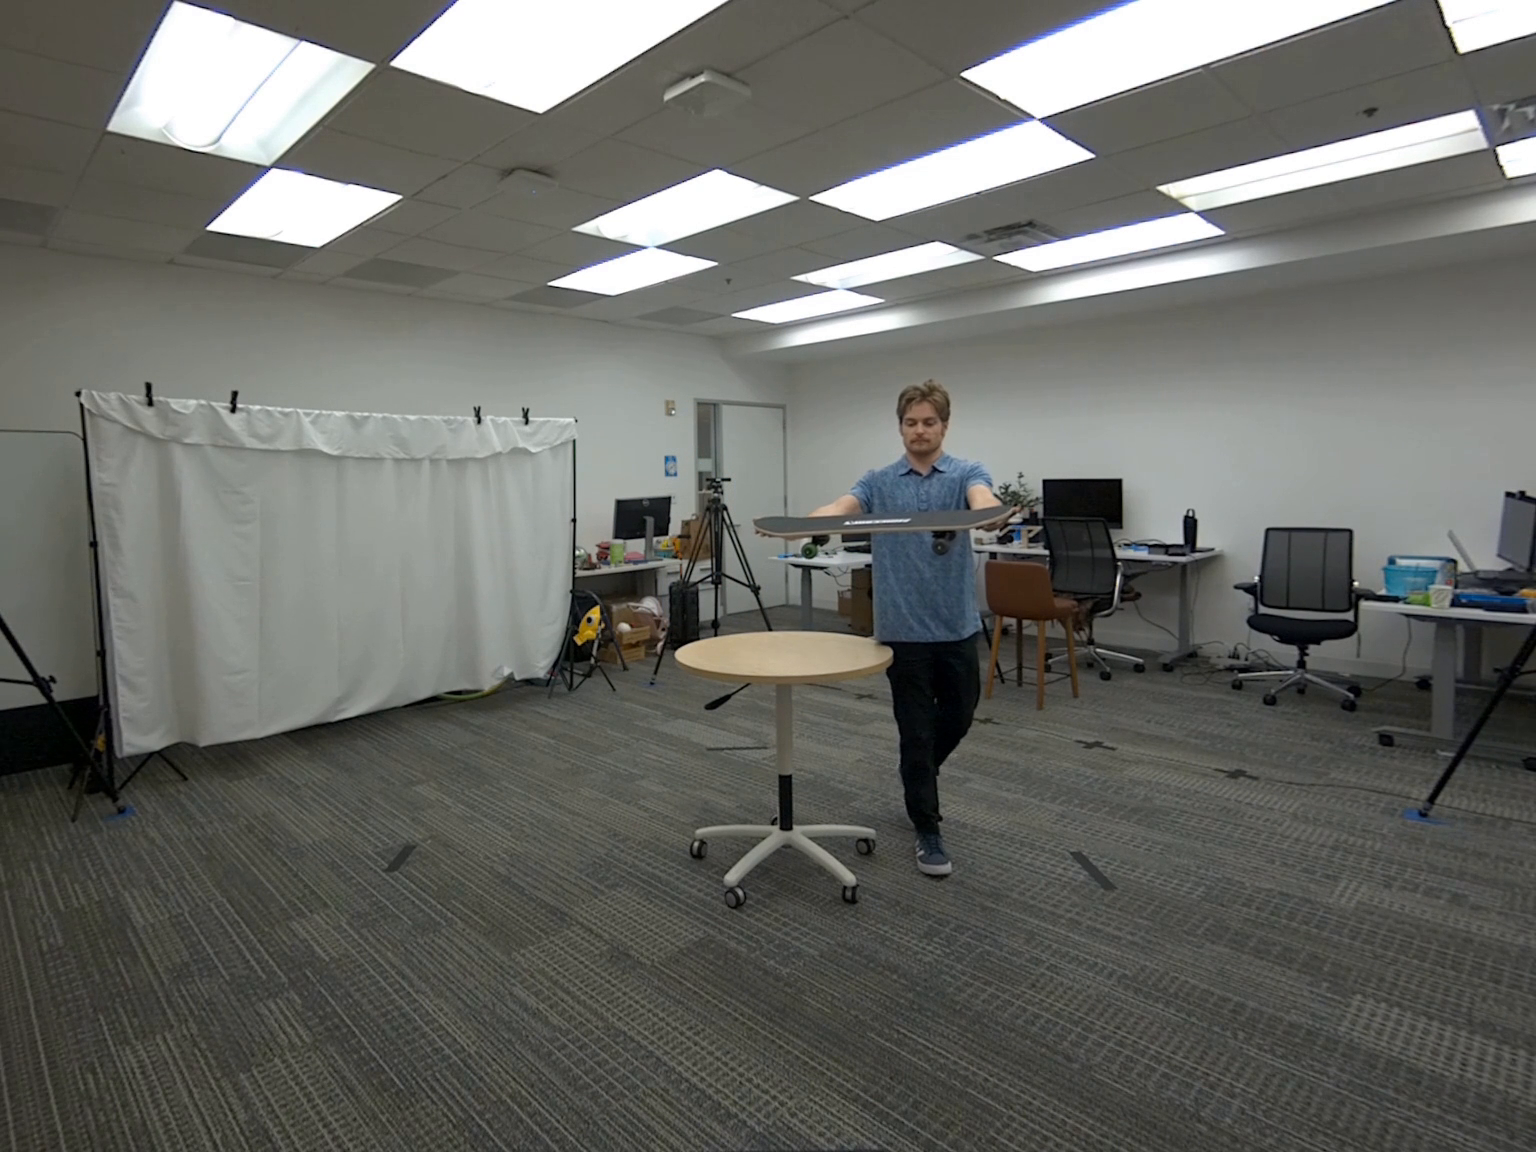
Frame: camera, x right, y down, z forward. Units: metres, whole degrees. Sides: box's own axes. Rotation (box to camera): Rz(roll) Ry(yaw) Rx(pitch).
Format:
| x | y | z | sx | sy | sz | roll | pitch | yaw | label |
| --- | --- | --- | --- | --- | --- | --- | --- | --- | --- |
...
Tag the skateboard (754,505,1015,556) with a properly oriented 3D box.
| x | y | z | sx | sy | sz | roll | pitch | yaw | label |
| --- | --- | --- | --- | --- | --- | --- | --- | --- | --- |
| 0.335 | -0.132 | 2.612 | 0.802 | 0.108 | 0.192 | -1 | 18 | 24 | skateboard |
